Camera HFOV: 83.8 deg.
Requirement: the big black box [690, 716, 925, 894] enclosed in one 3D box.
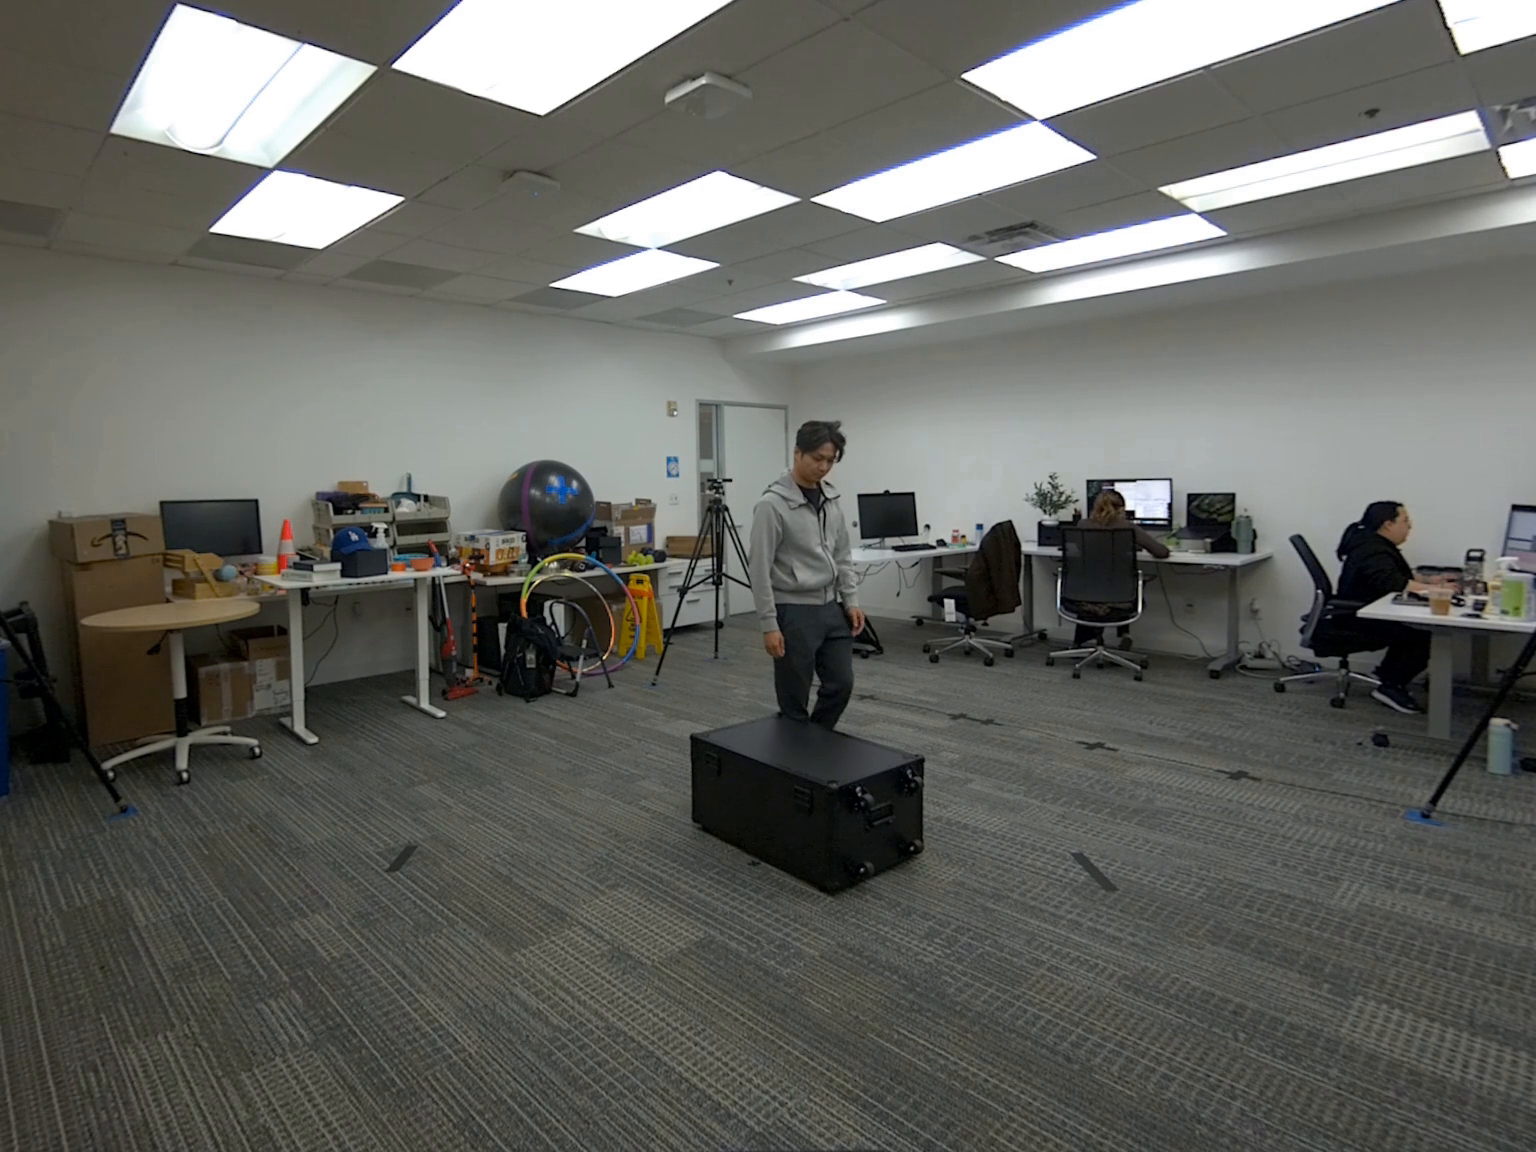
[{"bbox_3d":[0.149,0.834,3.249,0.508,0.394,0.888,-6,7,-41],"label":"big black box"}]
